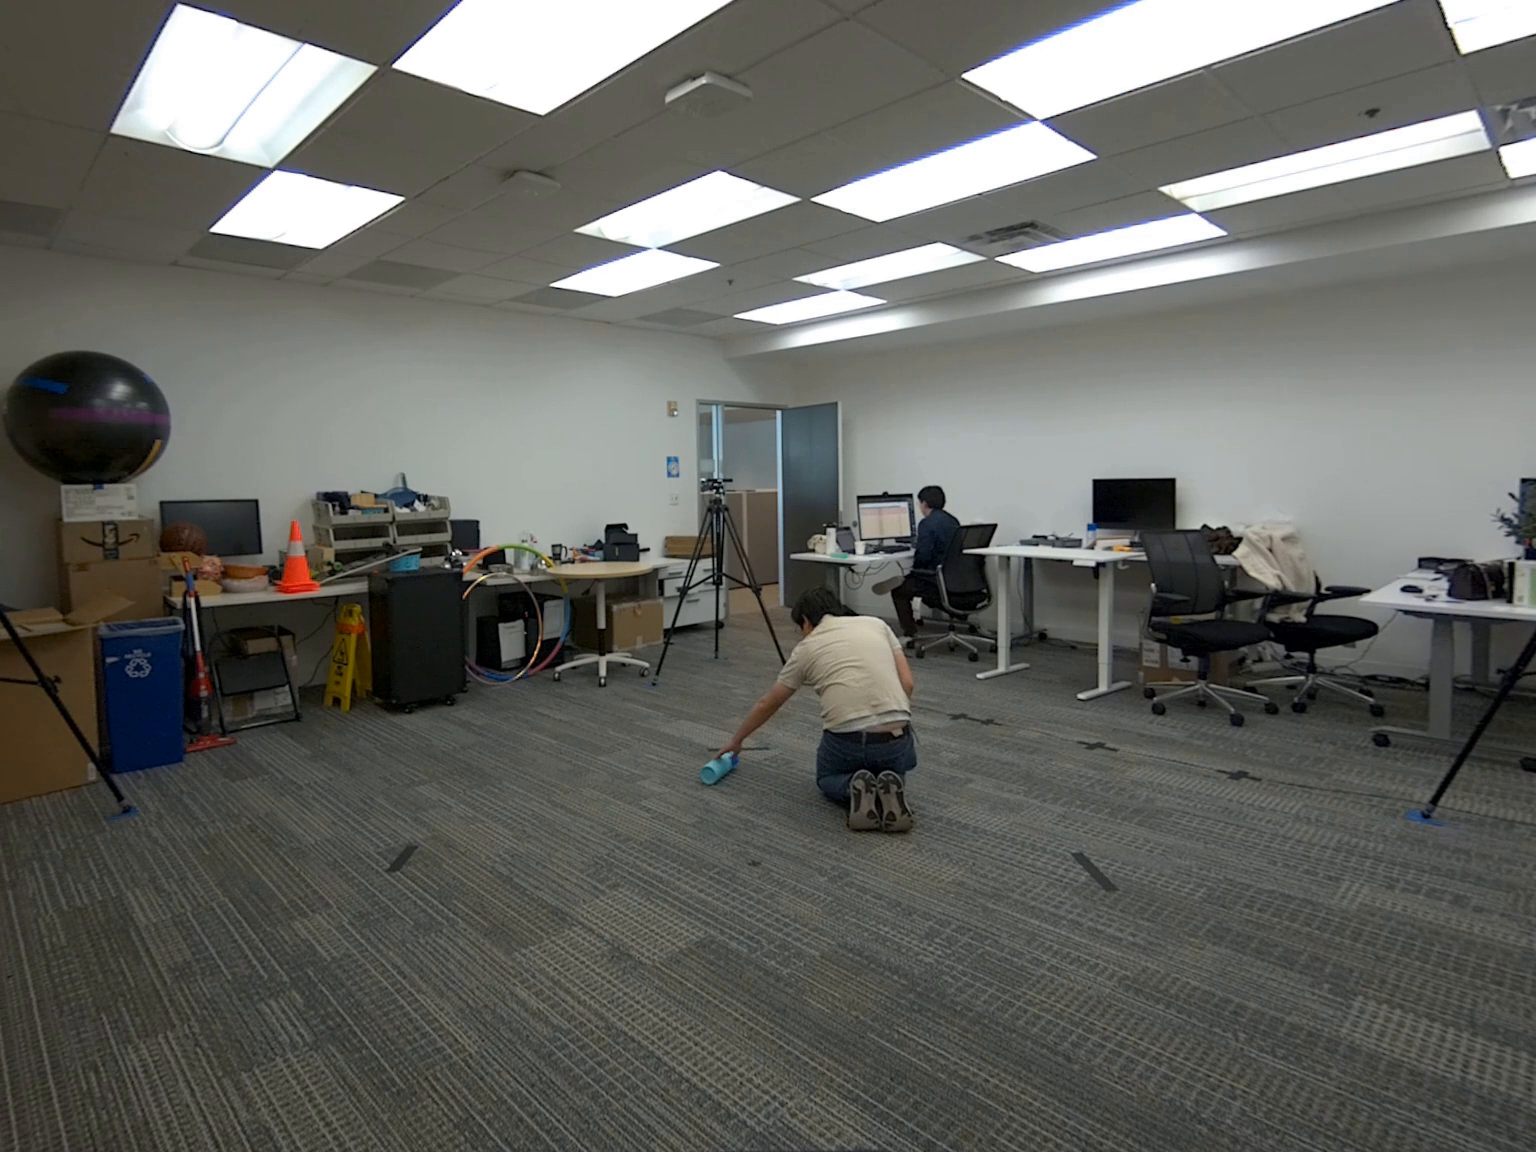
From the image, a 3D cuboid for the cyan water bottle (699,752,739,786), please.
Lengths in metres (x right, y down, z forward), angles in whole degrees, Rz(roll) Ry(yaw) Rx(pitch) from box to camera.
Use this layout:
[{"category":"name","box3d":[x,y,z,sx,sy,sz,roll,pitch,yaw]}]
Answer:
[{"category":"cyan water bottle","box3d":[-0.220,0.899,4.042,0.094,0.092,0.278,1,6,22]}]
